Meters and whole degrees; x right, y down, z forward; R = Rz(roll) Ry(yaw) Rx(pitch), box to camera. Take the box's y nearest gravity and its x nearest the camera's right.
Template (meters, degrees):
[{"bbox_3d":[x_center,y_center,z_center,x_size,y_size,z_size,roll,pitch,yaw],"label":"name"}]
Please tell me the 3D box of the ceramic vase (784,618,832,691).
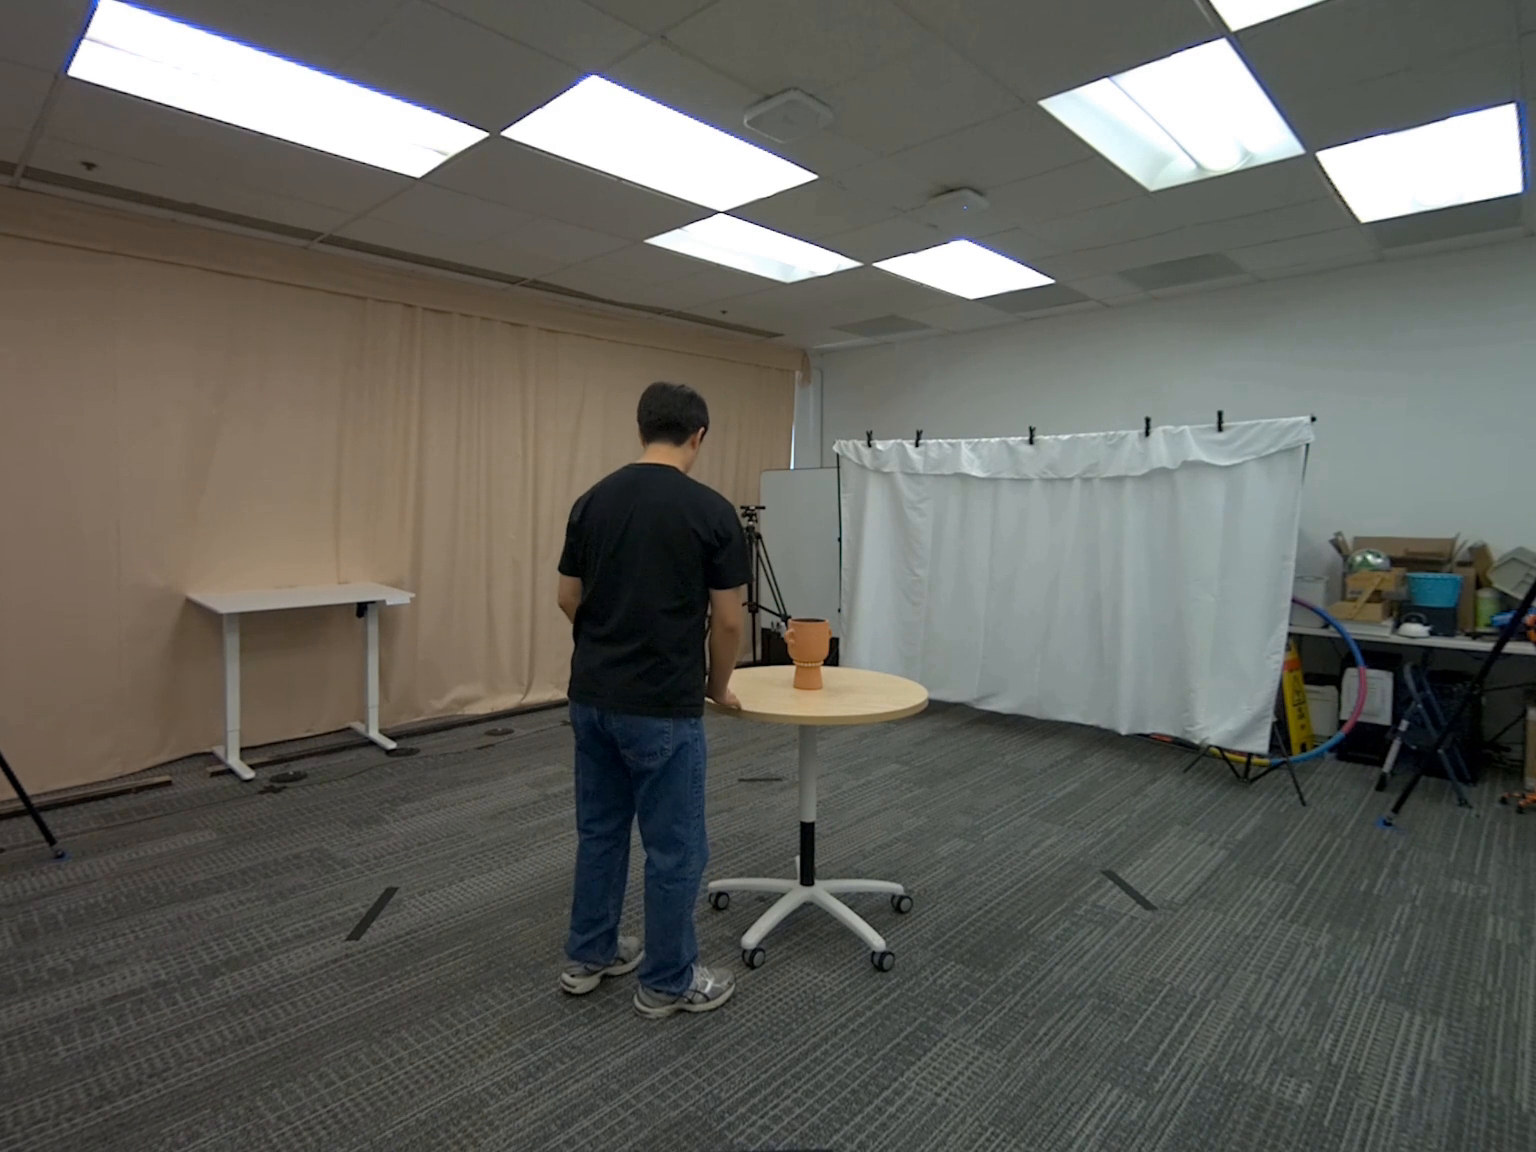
[{"bbox_3d":[0.141,0.258,2.757,0.160,0.219,0.134,1,3,5],"label":"ceramic vase"}]
